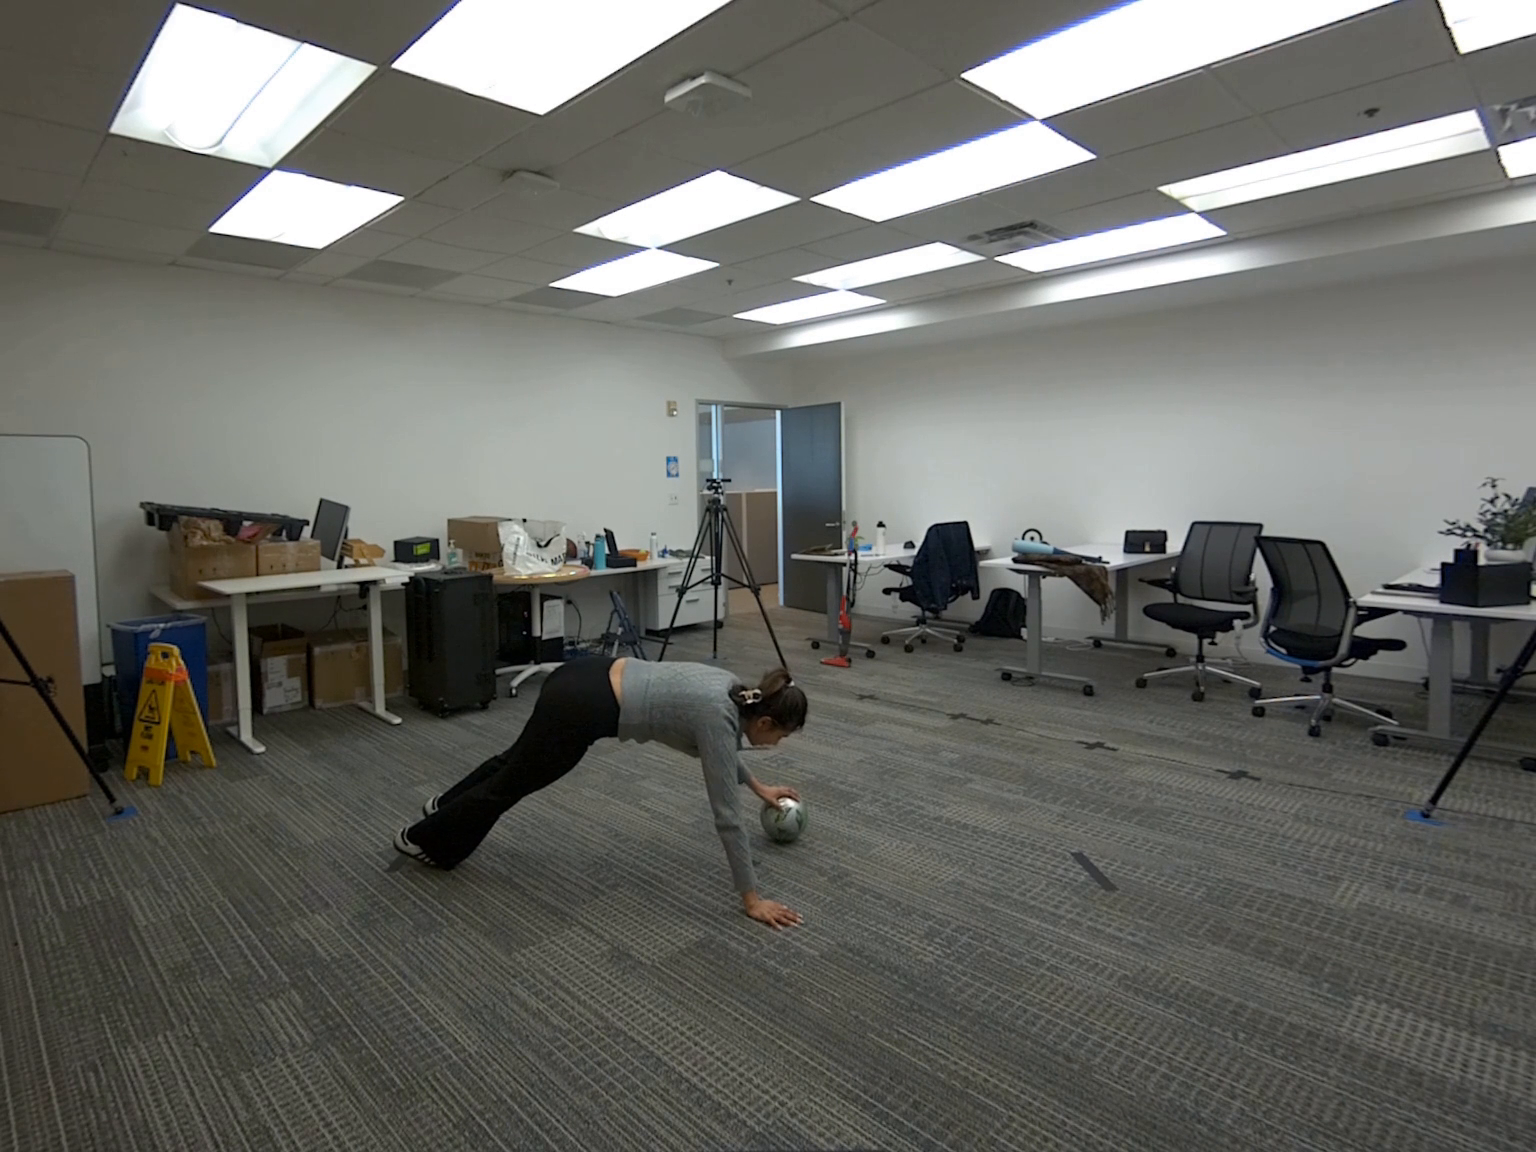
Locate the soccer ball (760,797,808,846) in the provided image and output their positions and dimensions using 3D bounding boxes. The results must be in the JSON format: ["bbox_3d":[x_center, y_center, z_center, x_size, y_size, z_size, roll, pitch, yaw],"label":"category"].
[{"bbox_3d":[0.062,0.925,3.304,0.187,0.187,0.188,-1,5,-2],"label":"soccer ball"}]
